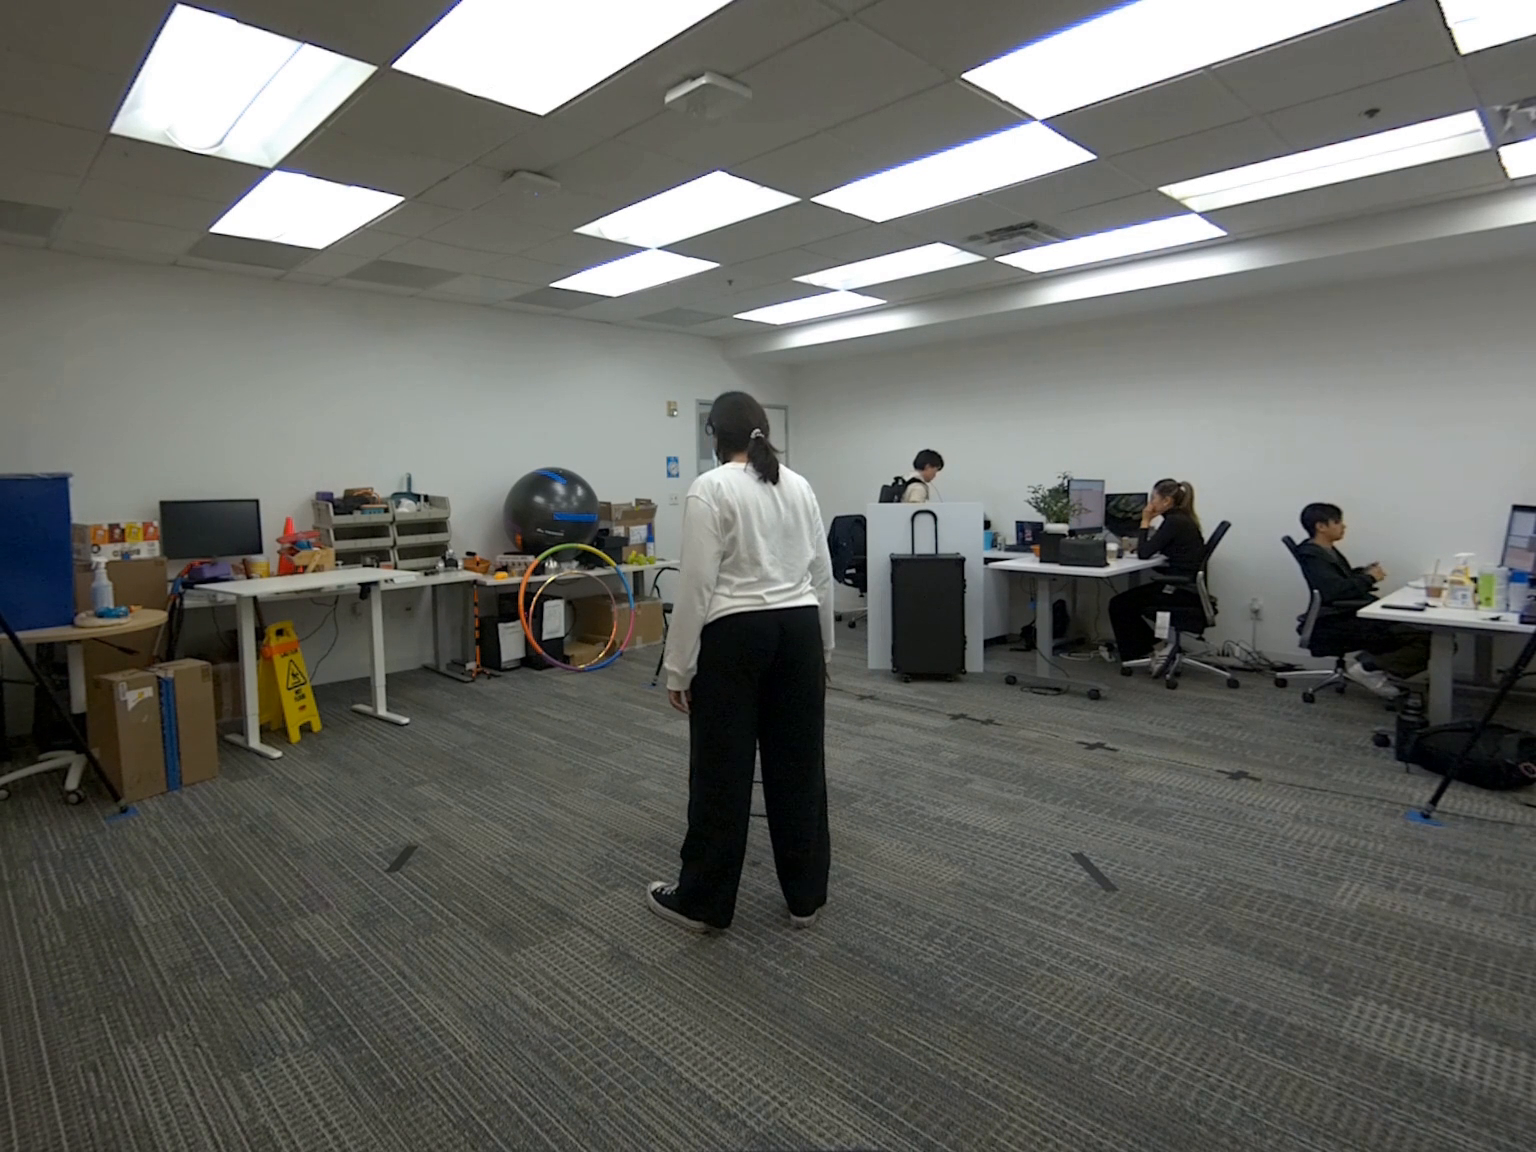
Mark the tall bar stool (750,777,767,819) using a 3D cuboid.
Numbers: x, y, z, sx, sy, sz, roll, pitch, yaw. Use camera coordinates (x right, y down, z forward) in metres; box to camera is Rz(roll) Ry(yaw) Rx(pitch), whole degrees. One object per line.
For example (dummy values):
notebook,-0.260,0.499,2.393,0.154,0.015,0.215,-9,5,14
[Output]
tall bar stool,-0.057,0.583,3.370,0.463,0.888,0.462,0,2,14
